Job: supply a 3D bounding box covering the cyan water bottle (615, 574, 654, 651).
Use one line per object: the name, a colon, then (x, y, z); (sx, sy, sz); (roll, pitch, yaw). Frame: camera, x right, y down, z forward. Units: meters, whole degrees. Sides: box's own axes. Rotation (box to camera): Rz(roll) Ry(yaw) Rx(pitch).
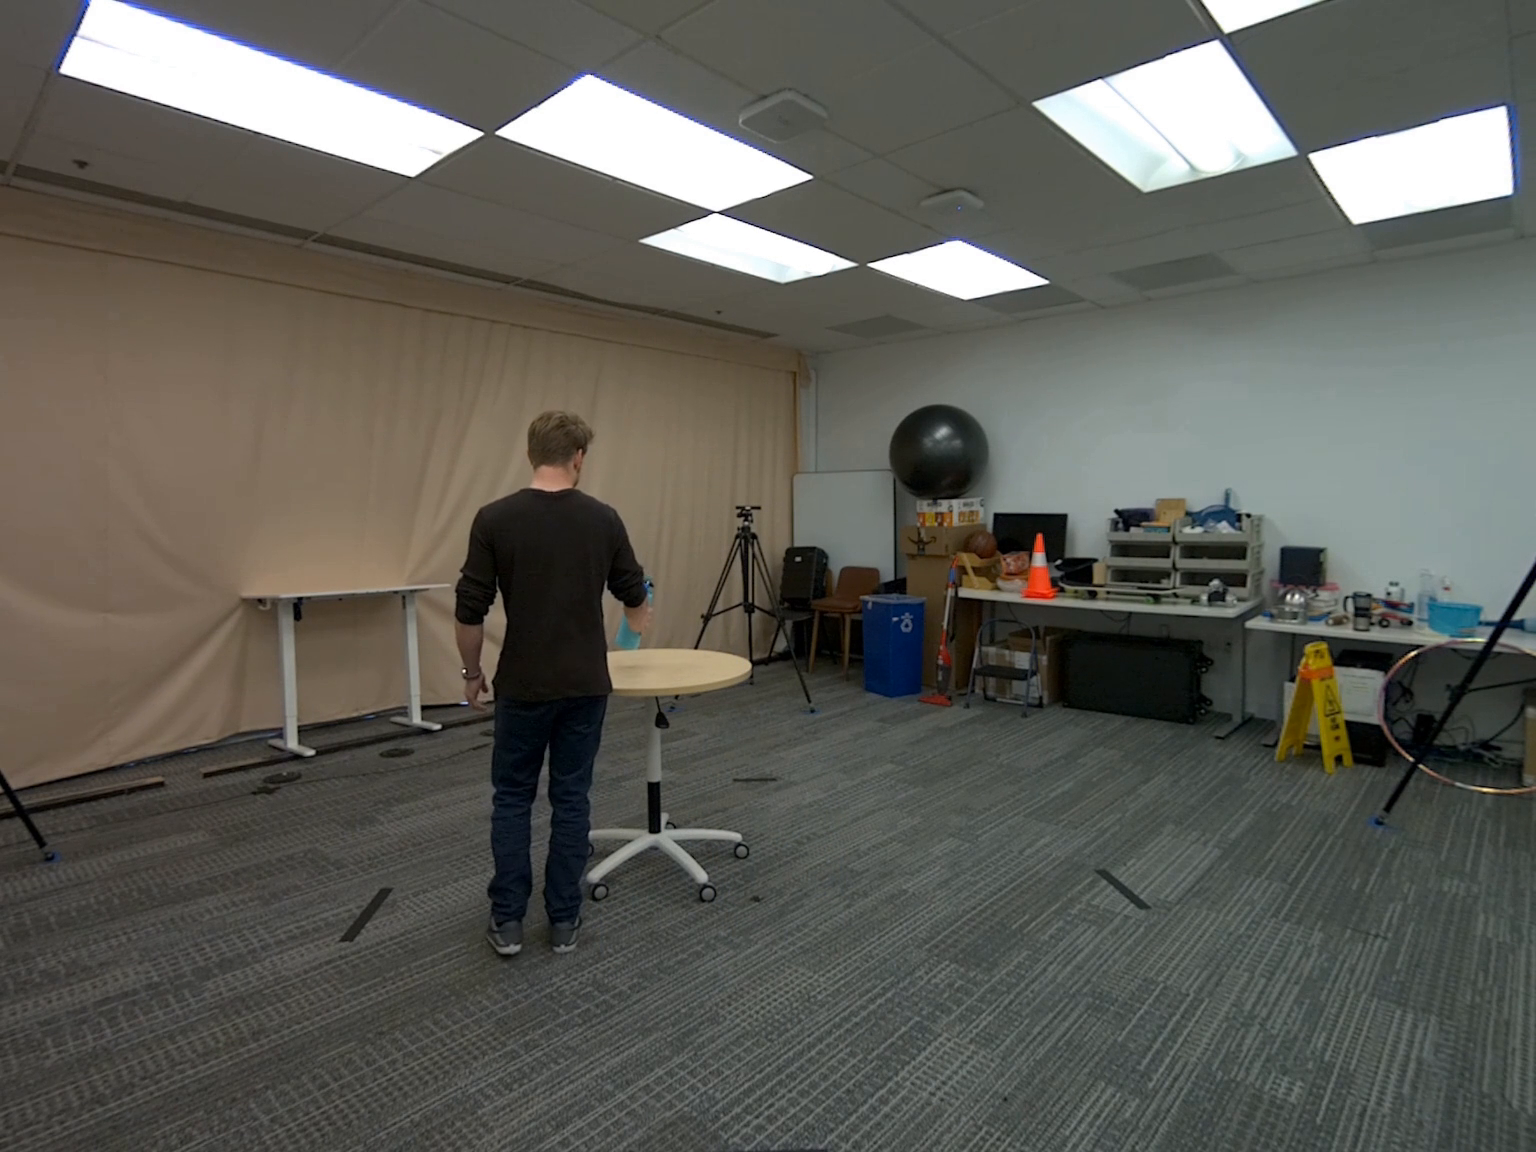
cyan water bottle: (-0.499, 0.136, 3.171); (0.092, 0.282, 0.093); (18, 13, -6)
